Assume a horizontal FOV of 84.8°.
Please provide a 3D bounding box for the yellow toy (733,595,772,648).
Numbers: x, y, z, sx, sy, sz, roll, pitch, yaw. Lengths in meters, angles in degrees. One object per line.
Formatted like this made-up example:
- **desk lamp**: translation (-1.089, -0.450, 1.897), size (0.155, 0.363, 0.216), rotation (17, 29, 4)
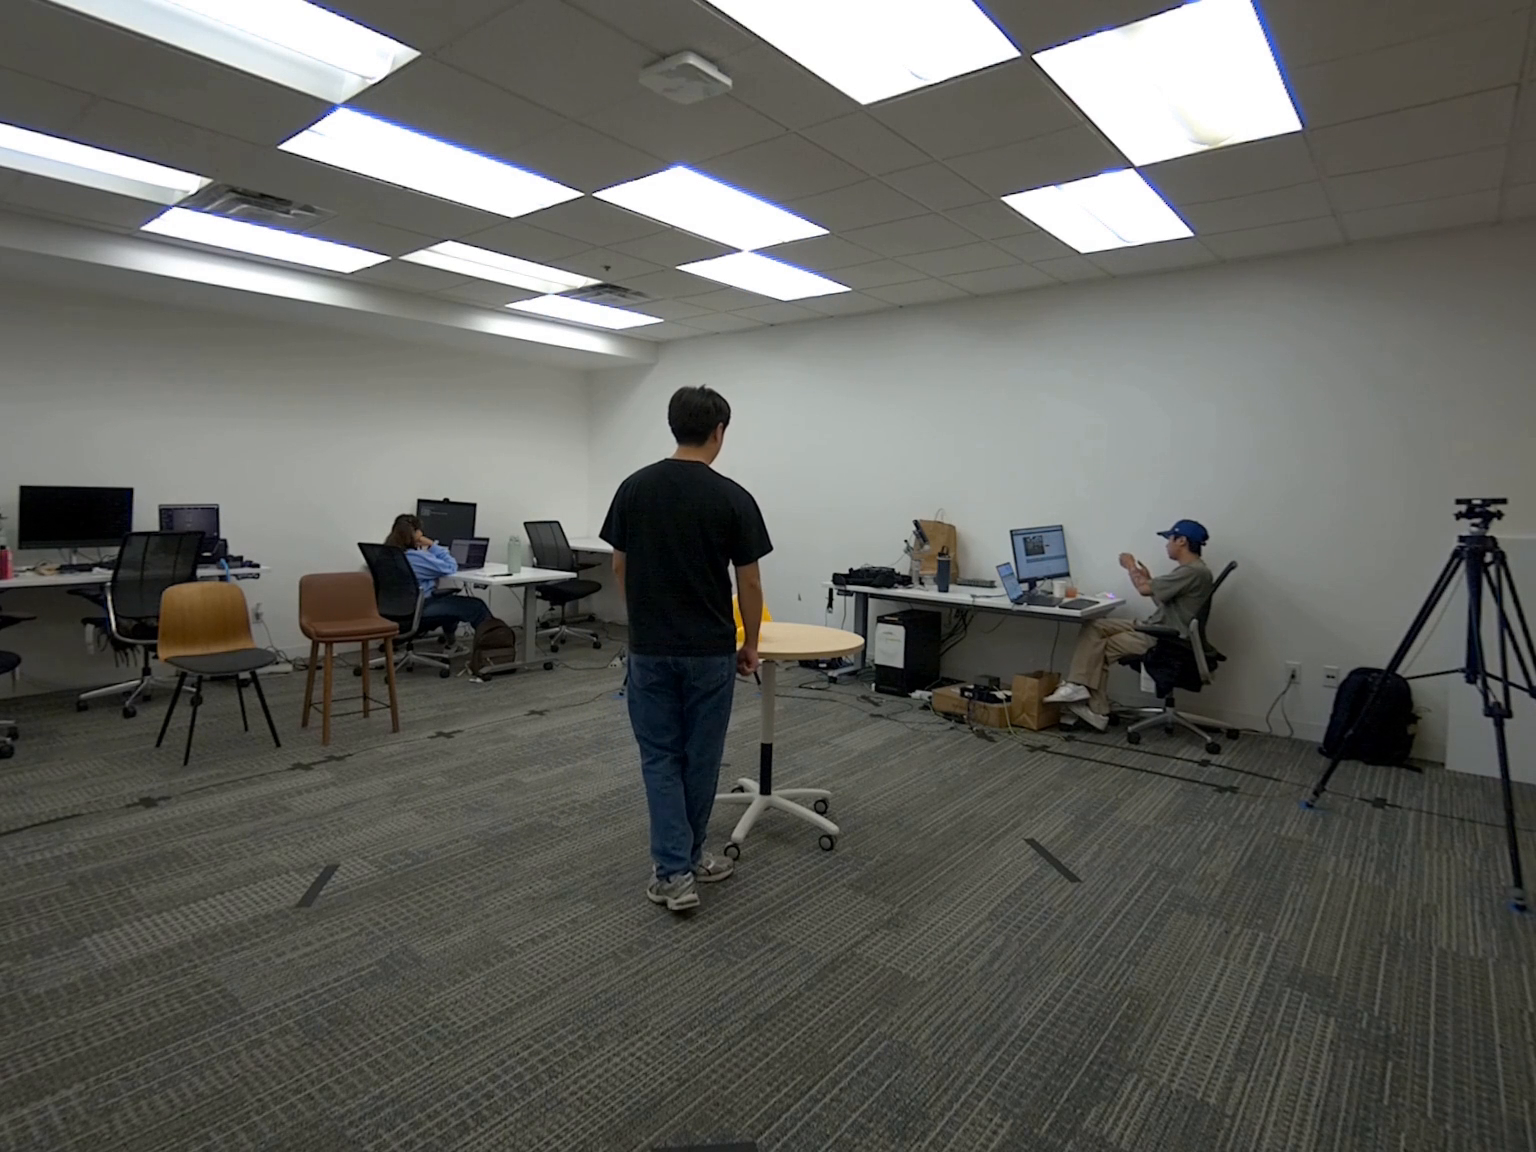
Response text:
- **yellow toy**: translation (-0.114, 0.130, 3.410), size (0.189, 0.230, 0.210), rotation (-1, 4, -23)
